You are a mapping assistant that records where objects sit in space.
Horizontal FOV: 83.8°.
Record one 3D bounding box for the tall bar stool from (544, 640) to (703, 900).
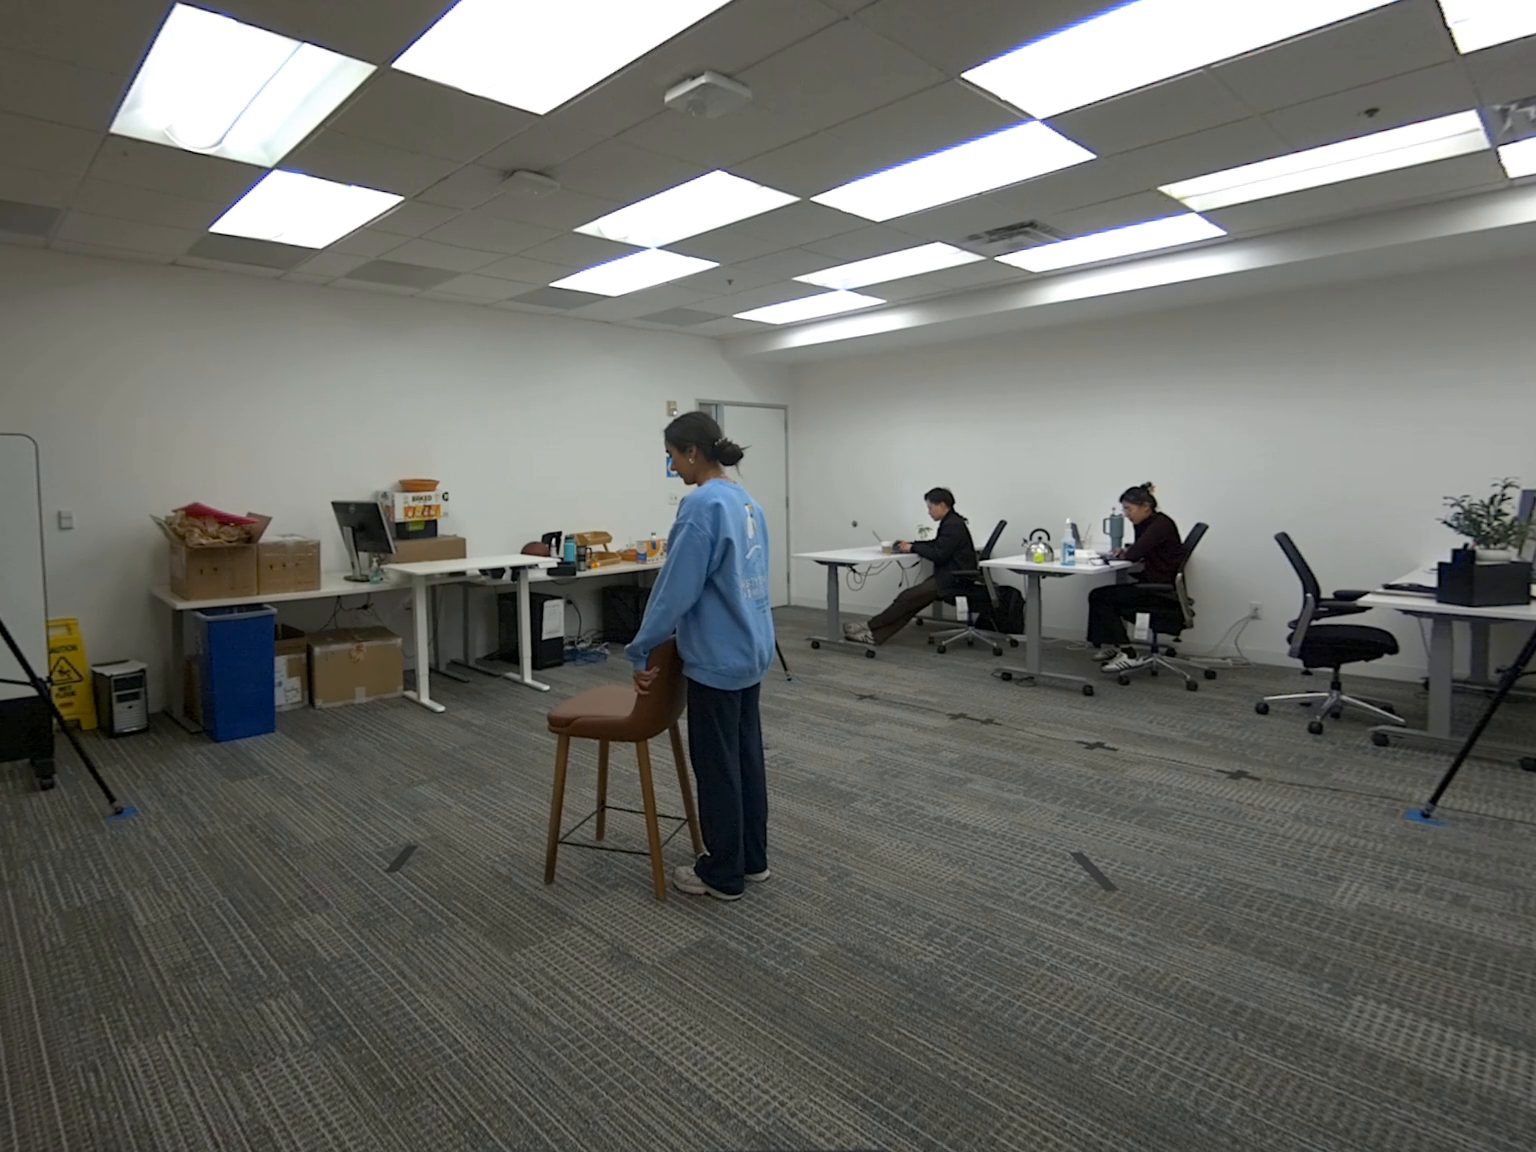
[{"bbox_3d":[-0.507,0.621,3.054,0.477,0.886,0.450,3,5,19],"label":"tall bar stool"}]
